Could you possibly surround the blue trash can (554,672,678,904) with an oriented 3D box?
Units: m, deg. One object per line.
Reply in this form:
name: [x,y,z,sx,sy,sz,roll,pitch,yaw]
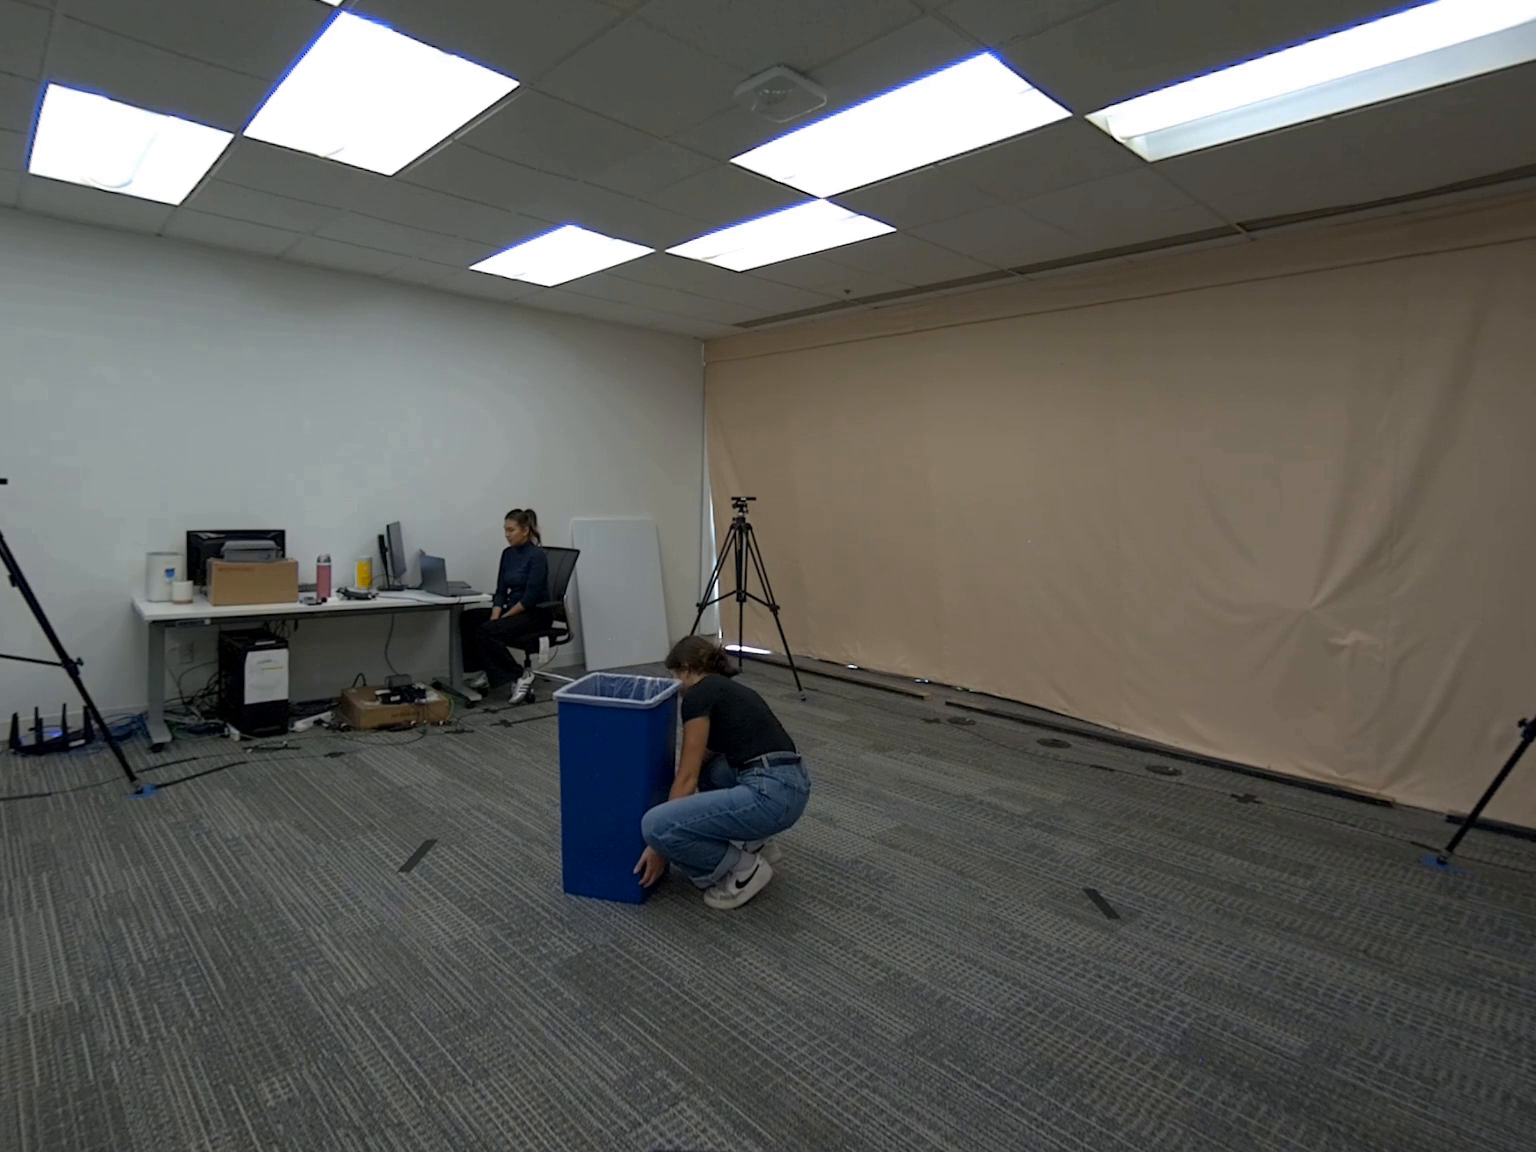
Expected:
blue trash can: [-0.537,0.745,3.014,0.383,0.712,0.370,2,3,15]
